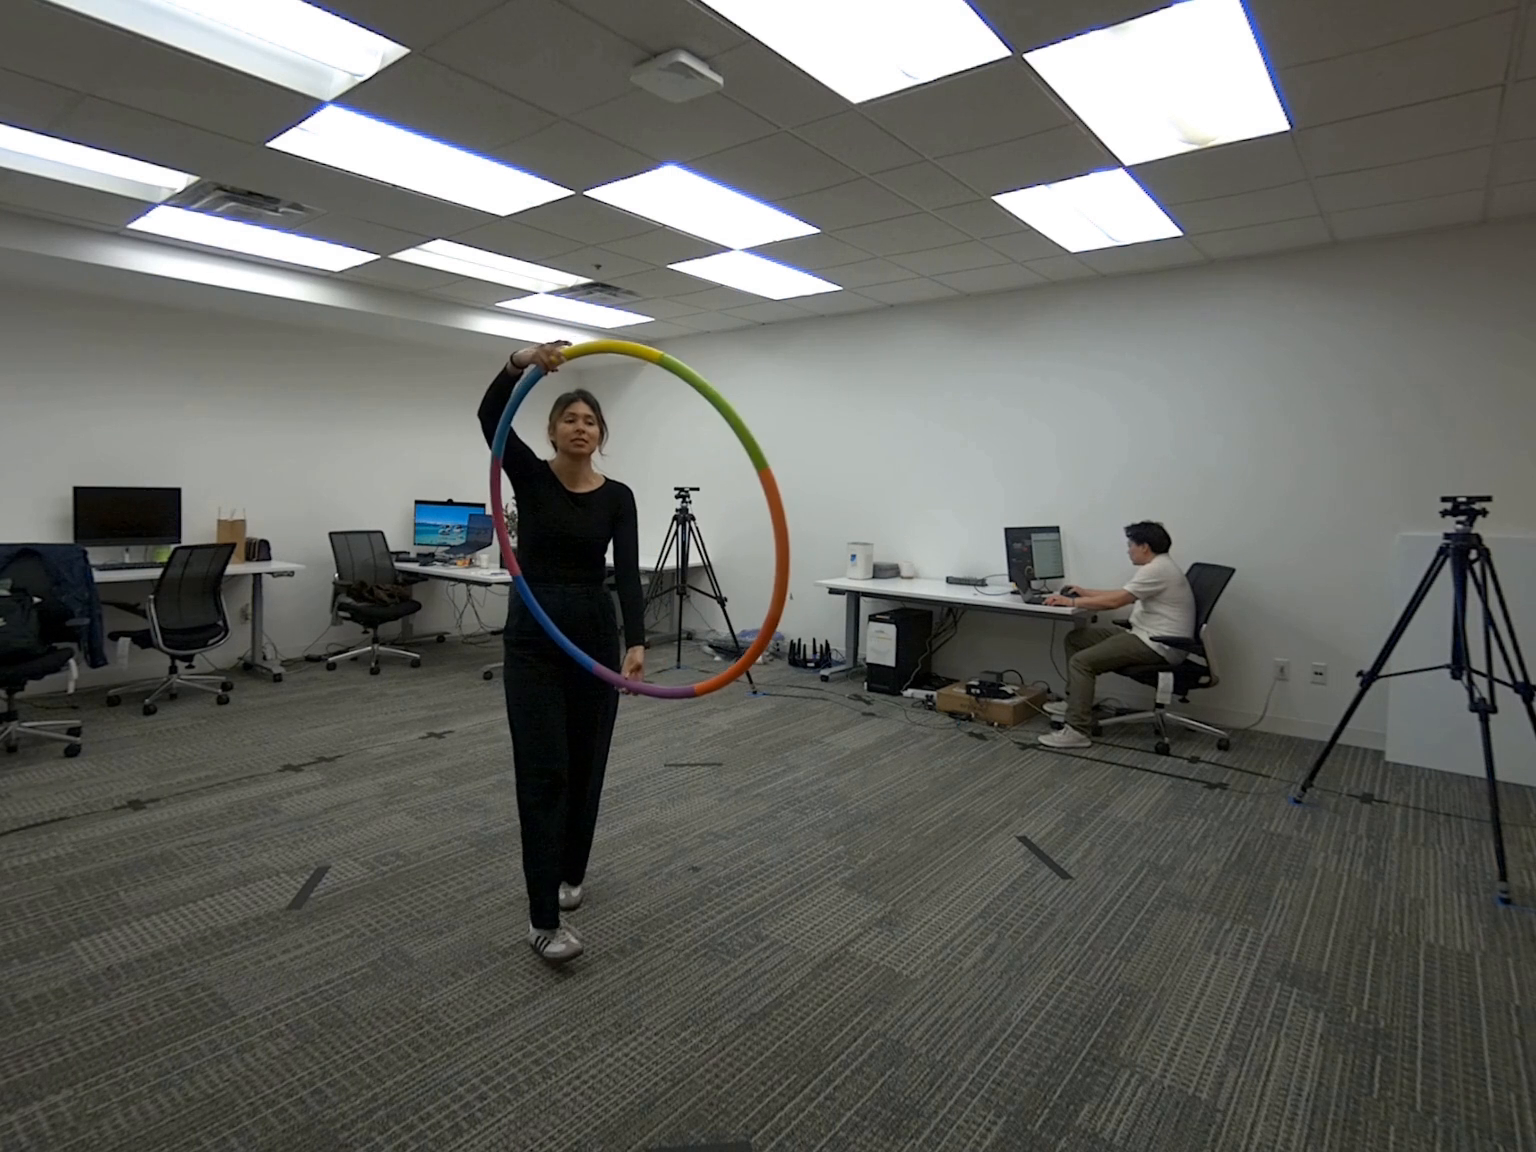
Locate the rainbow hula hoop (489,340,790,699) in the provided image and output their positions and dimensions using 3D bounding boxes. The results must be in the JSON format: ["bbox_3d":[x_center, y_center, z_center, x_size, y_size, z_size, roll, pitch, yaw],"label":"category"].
[{"bbox_3d":[-0.394,-0.128,2.267,1.015,0.970,0.051,4,18,32],"label":"rainbow hula hoop"}]
